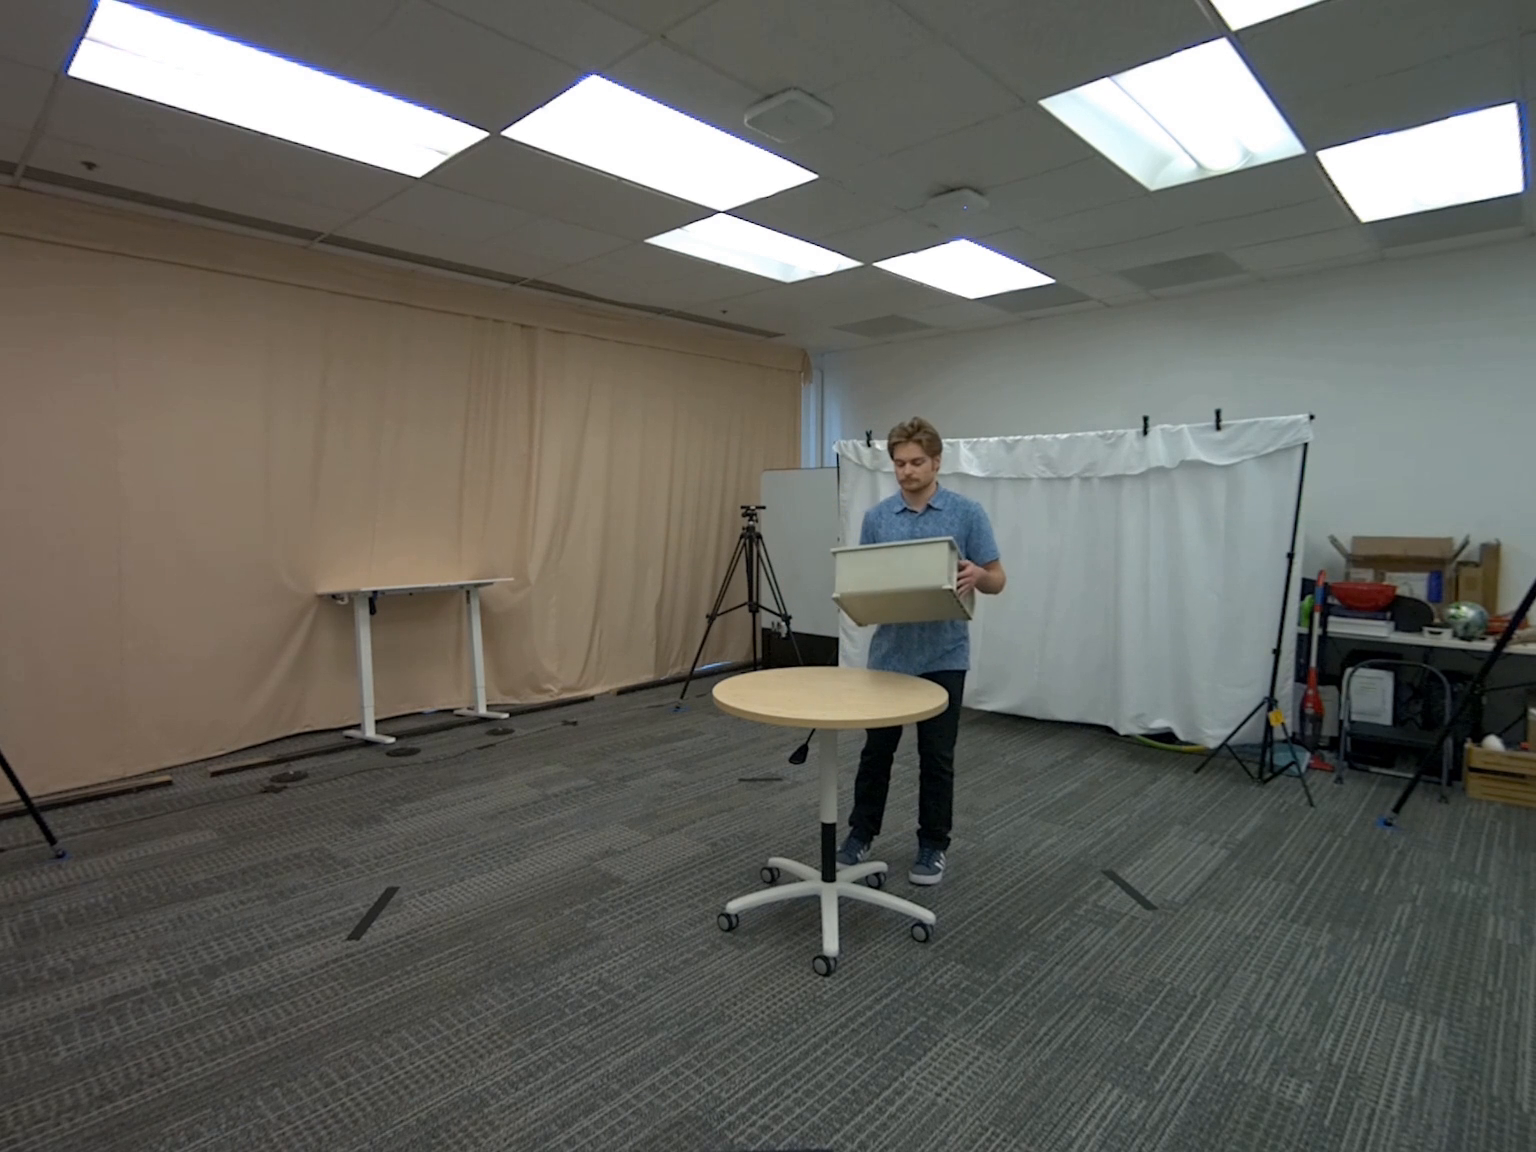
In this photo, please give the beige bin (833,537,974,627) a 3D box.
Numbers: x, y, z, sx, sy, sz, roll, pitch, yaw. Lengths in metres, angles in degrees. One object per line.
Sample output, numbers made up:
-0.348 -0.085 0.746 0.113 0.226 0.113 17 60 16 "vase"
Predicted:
0.474 0.040 2.965 0.432 0.191 0.364 -5 -24 25 "beige bin"
